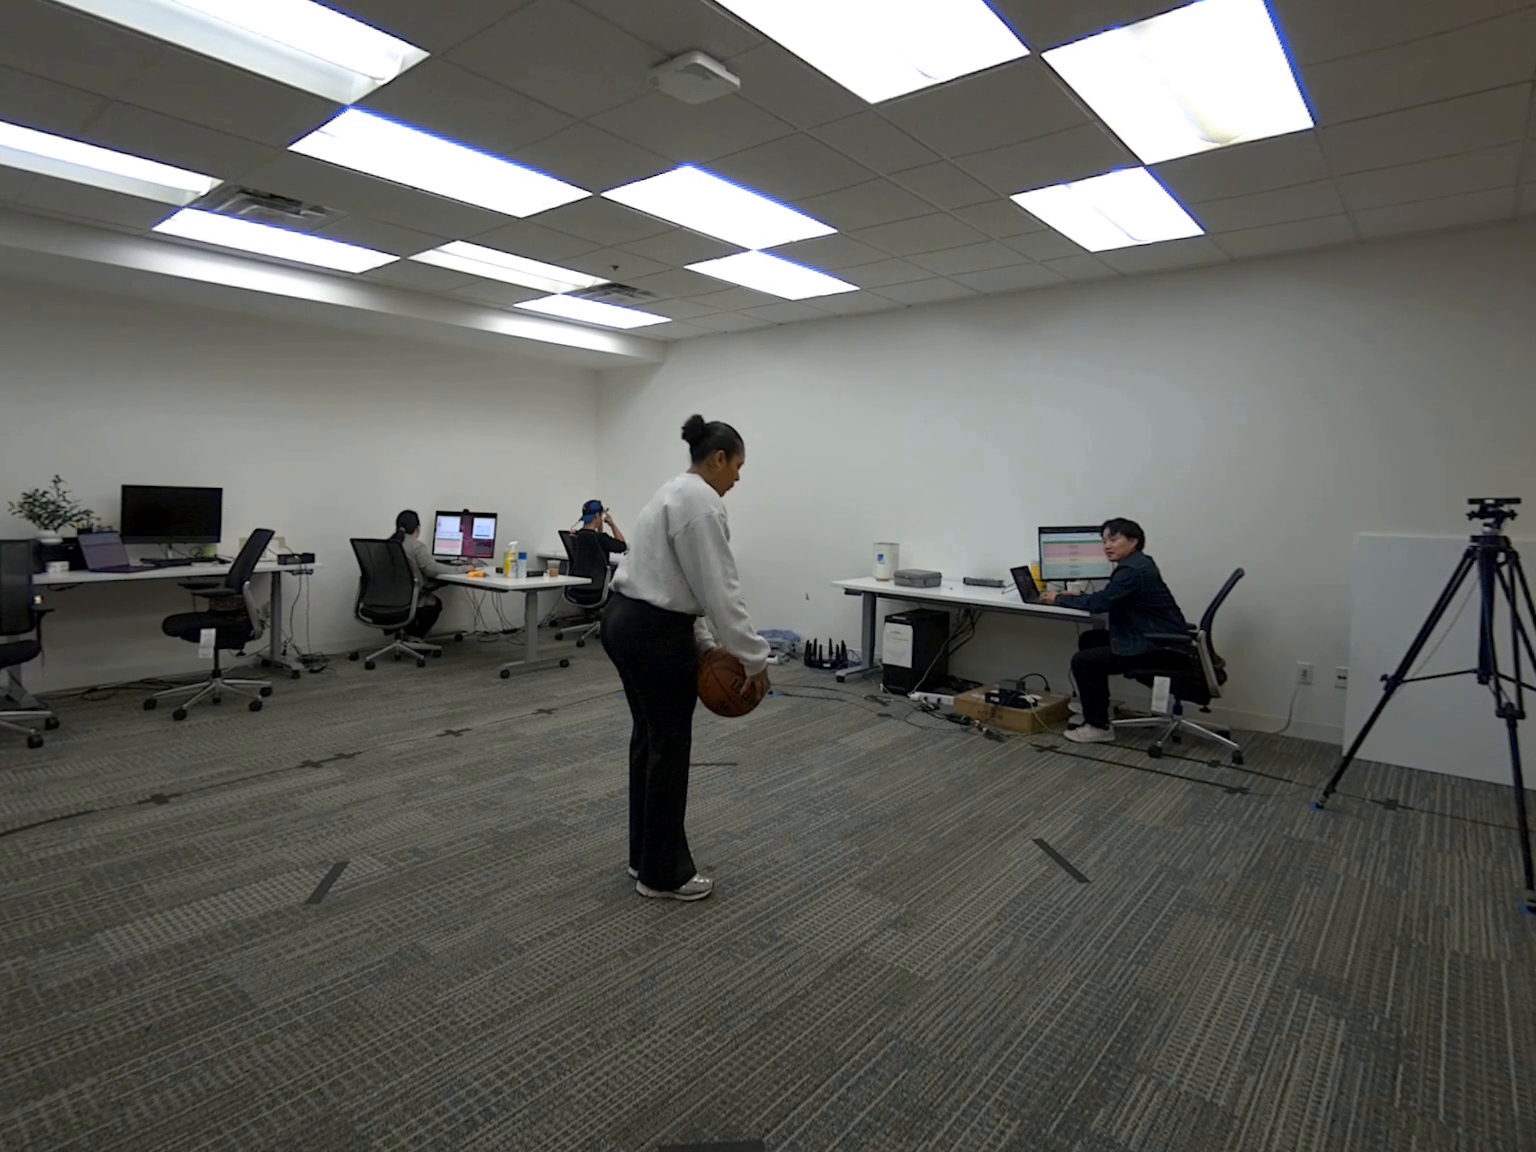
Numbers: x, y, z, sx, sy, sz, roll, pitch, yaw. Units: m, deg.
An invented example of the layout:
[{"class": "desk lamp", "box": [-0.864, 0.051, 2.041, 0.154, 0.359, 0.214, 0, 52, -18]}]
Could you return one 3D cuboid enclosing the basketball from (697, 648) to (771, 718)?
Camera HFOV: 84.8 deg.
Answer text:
[{"class": "basketball", "box": [-0.142, 0.366, 2.849, 0.235, 0.235, 0.237, 1, 4, -2]}]
